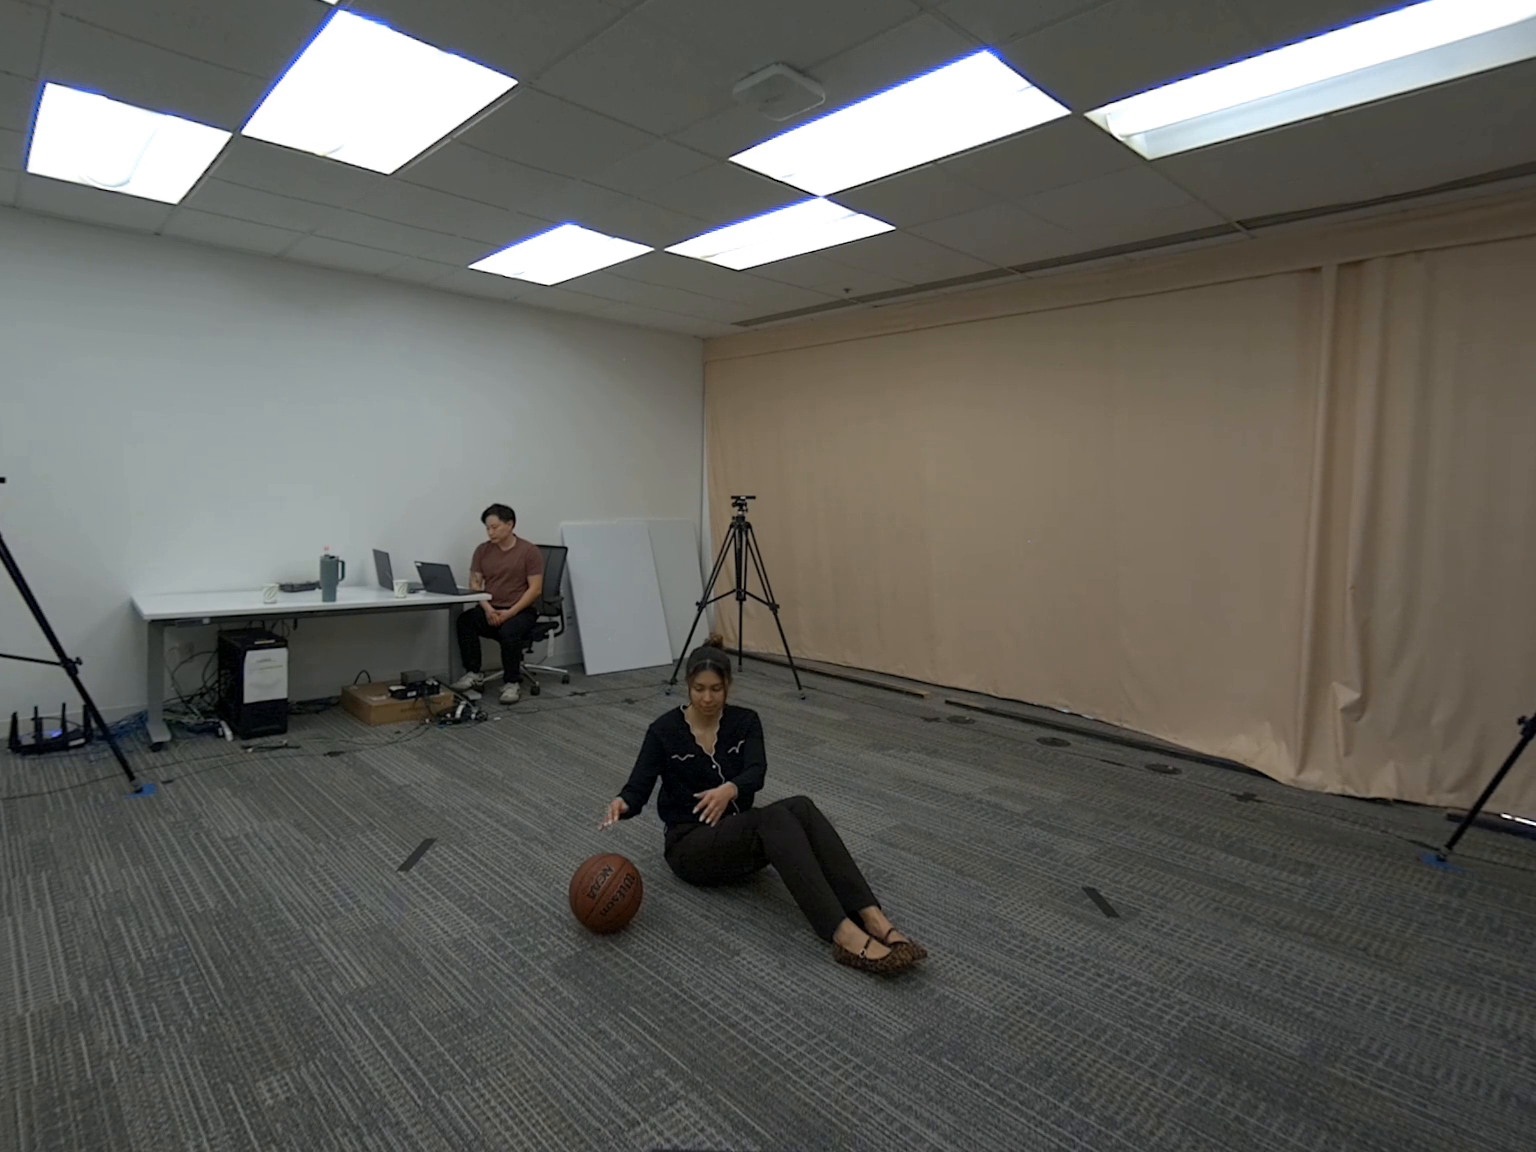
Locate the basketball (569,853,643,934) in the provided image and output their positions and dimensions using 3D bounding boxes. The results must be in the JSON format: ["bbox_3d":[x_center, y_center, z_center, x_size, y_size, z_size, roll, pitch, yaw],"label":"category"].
[{"bbox_3d":[-0.525,1.011,2.698,0.236,0.235,0.237,1,4,-1],"label":"basketball"}]
